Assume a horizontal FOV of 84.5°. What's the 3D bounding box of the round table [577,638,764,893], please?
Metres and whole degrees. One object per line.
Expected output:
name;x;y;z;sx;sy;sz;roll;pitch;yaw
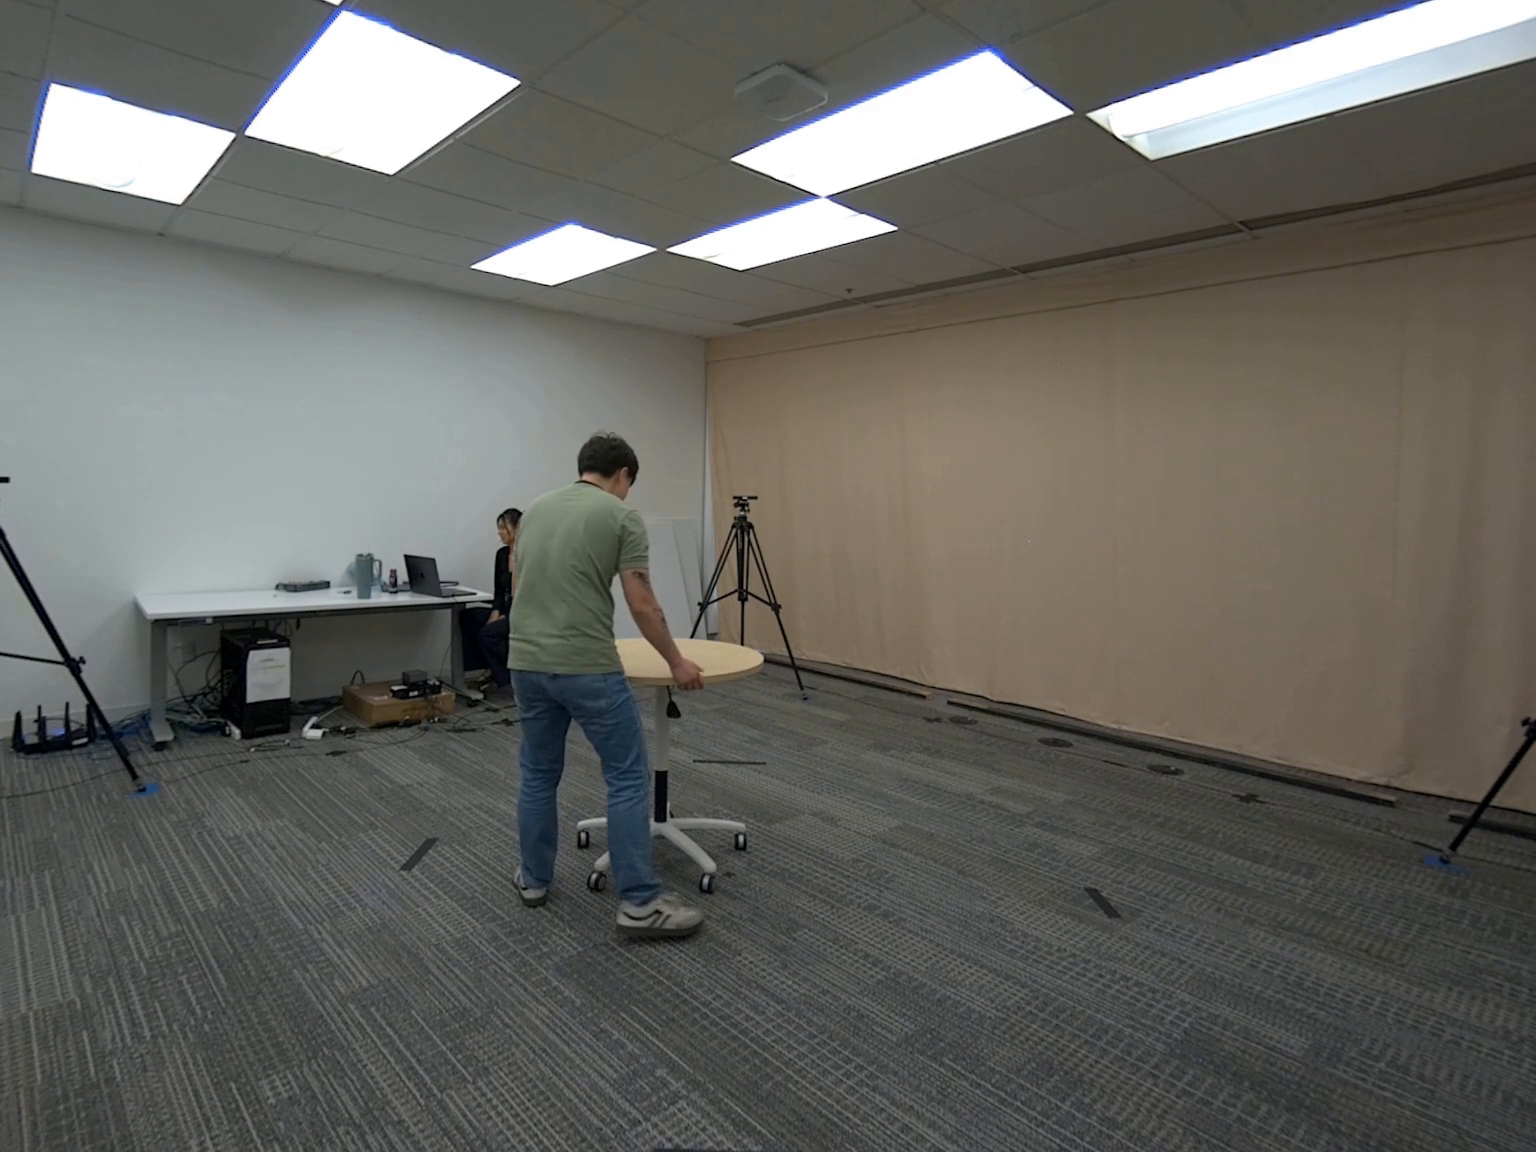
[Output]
round table;-0.408;0.698;3.227;0.763;0.792;0.767;1;4;-1
